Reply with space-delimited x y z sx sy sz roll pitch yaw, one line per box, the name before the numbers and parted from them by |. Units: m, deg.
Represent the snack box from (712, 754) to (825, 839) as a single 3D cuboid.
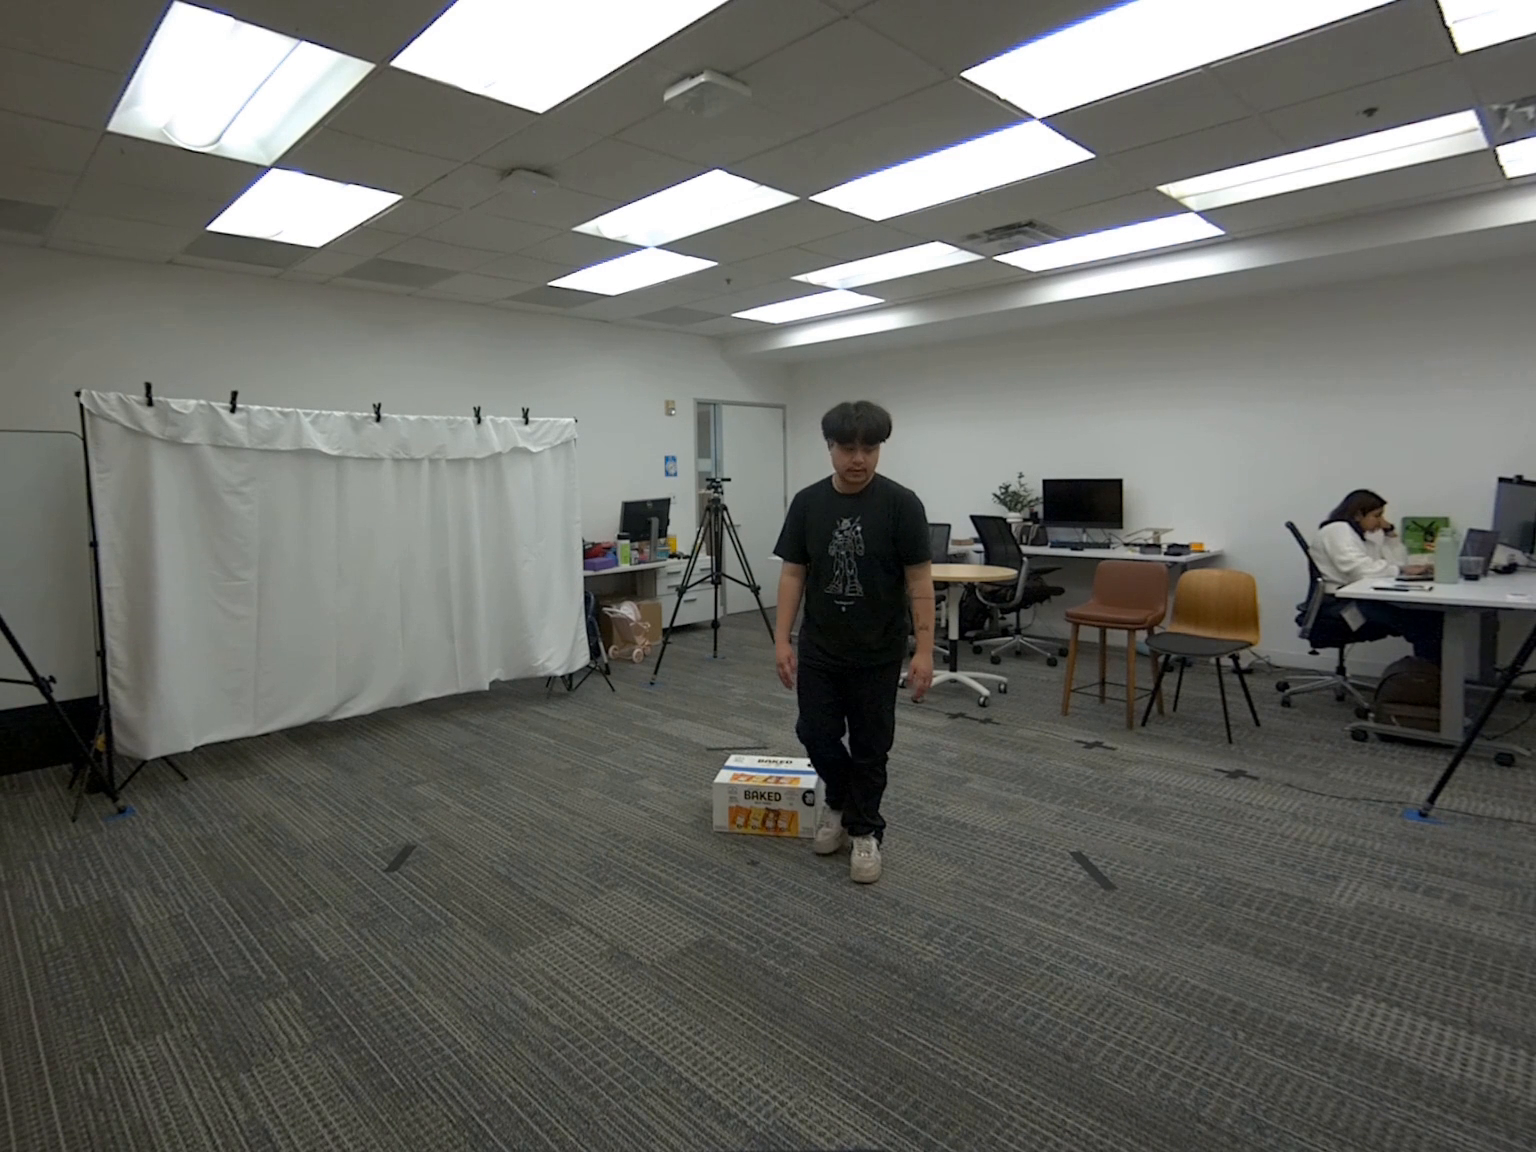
snack box | 0.010 0.893 3.498 0.410 0.205 0.338 0 6 11
